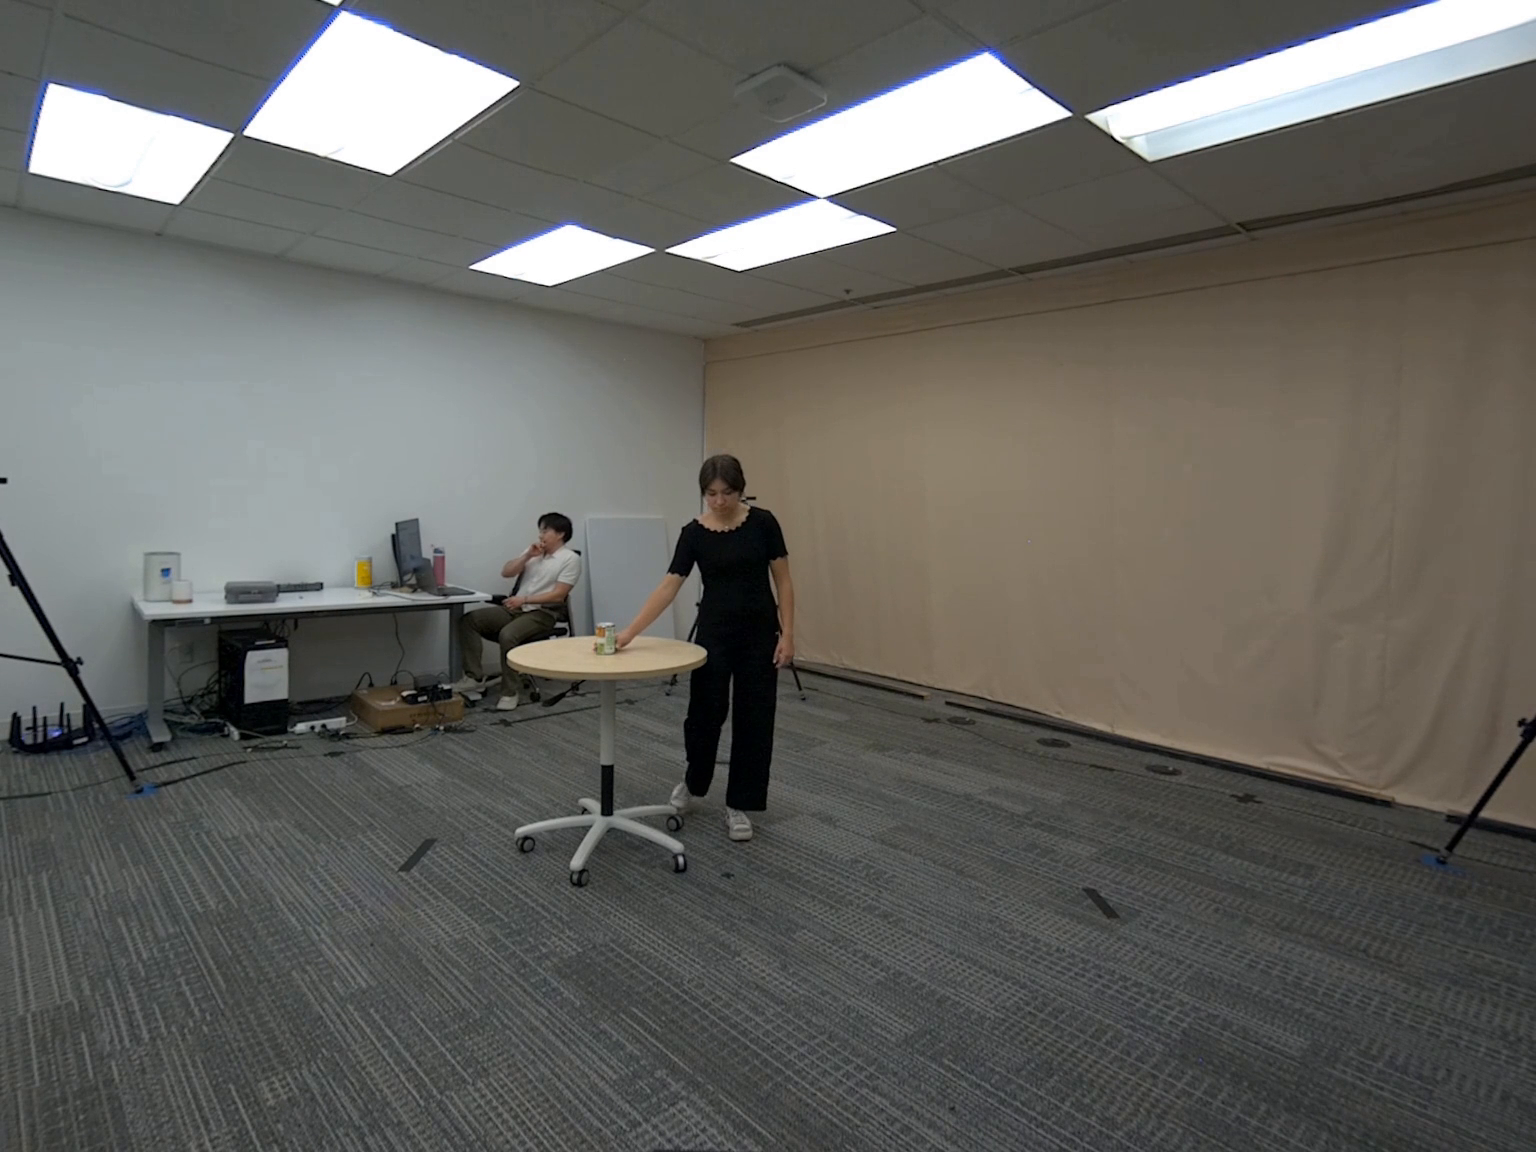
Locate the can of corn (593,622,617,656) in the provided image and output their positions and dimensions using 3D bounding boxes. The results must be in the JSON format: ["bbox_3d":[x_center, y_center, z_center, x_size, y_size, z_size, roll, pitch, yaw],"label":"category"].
[{"bbox_3d":[-0.635,0.242,3.235,0.074,0.111,0.074,0,1,-1],"label":"can of corn"}]
